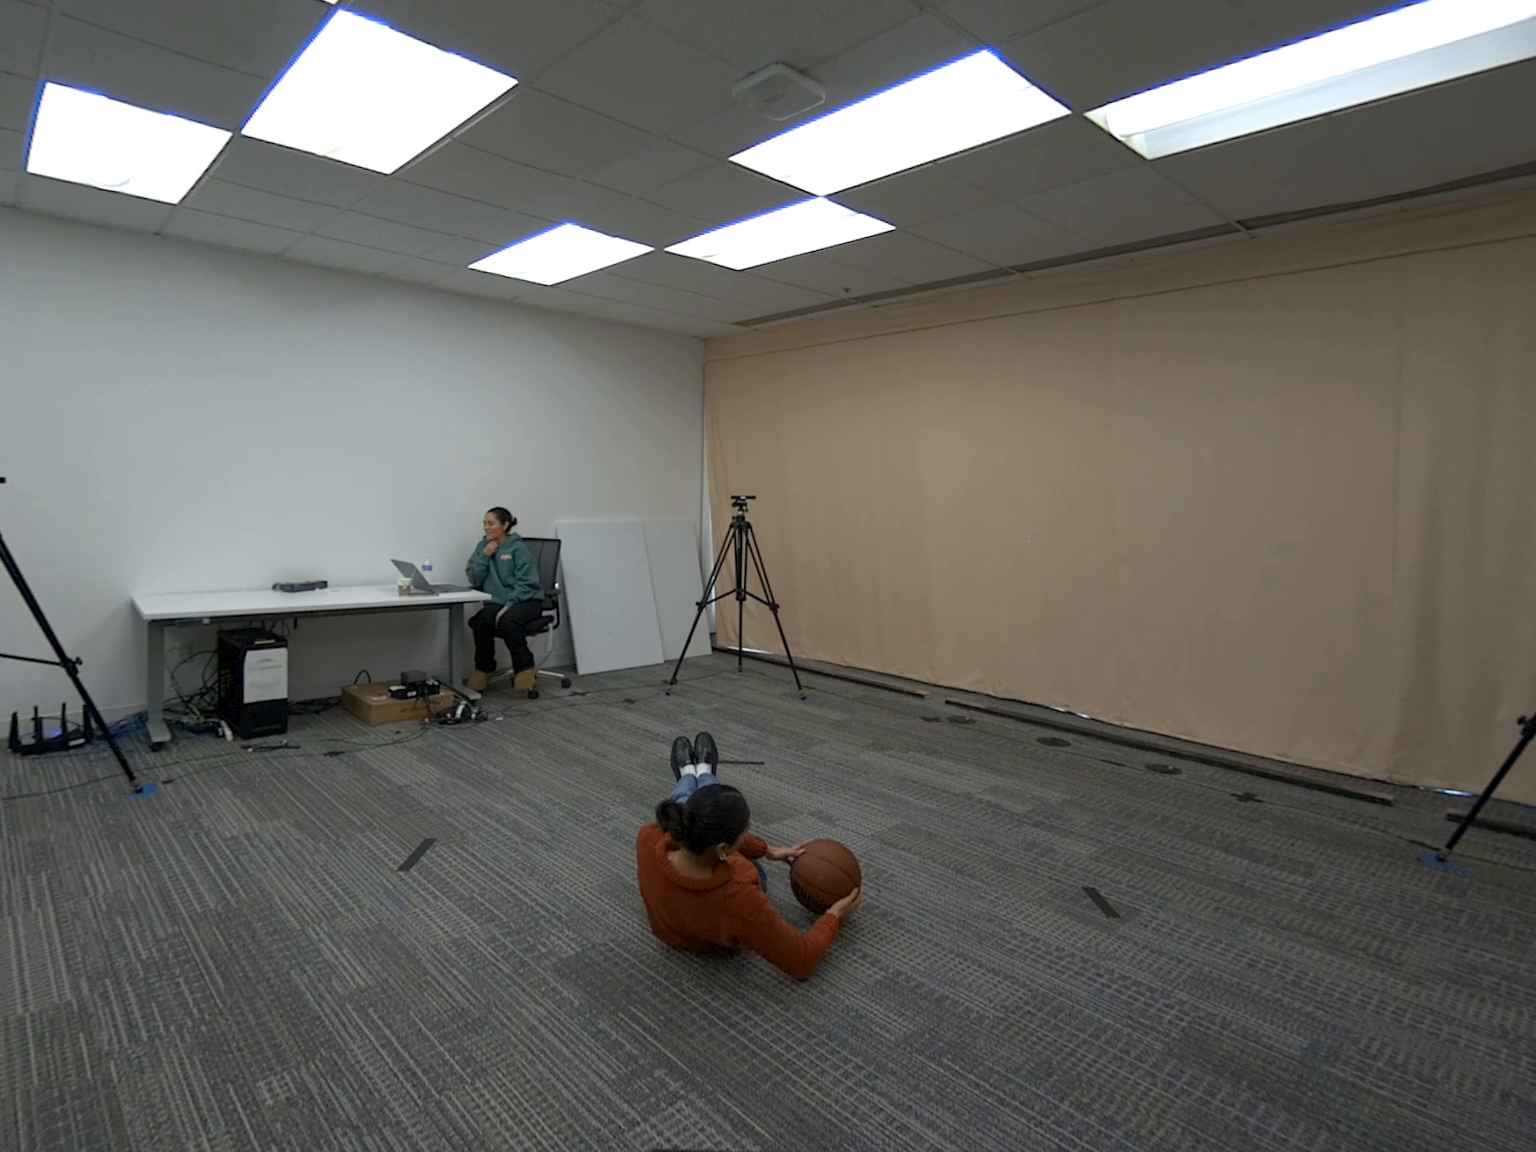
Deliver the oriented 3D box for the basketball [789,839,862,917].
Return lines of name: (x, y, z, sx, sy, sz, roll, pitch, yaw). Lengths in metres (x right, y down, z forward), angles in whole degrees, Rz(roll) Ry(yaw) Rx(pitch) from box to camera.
basketball: (0.173, 0.965, 2.780, 0.236, 0.235, 0.237, 1, 4, -1)
